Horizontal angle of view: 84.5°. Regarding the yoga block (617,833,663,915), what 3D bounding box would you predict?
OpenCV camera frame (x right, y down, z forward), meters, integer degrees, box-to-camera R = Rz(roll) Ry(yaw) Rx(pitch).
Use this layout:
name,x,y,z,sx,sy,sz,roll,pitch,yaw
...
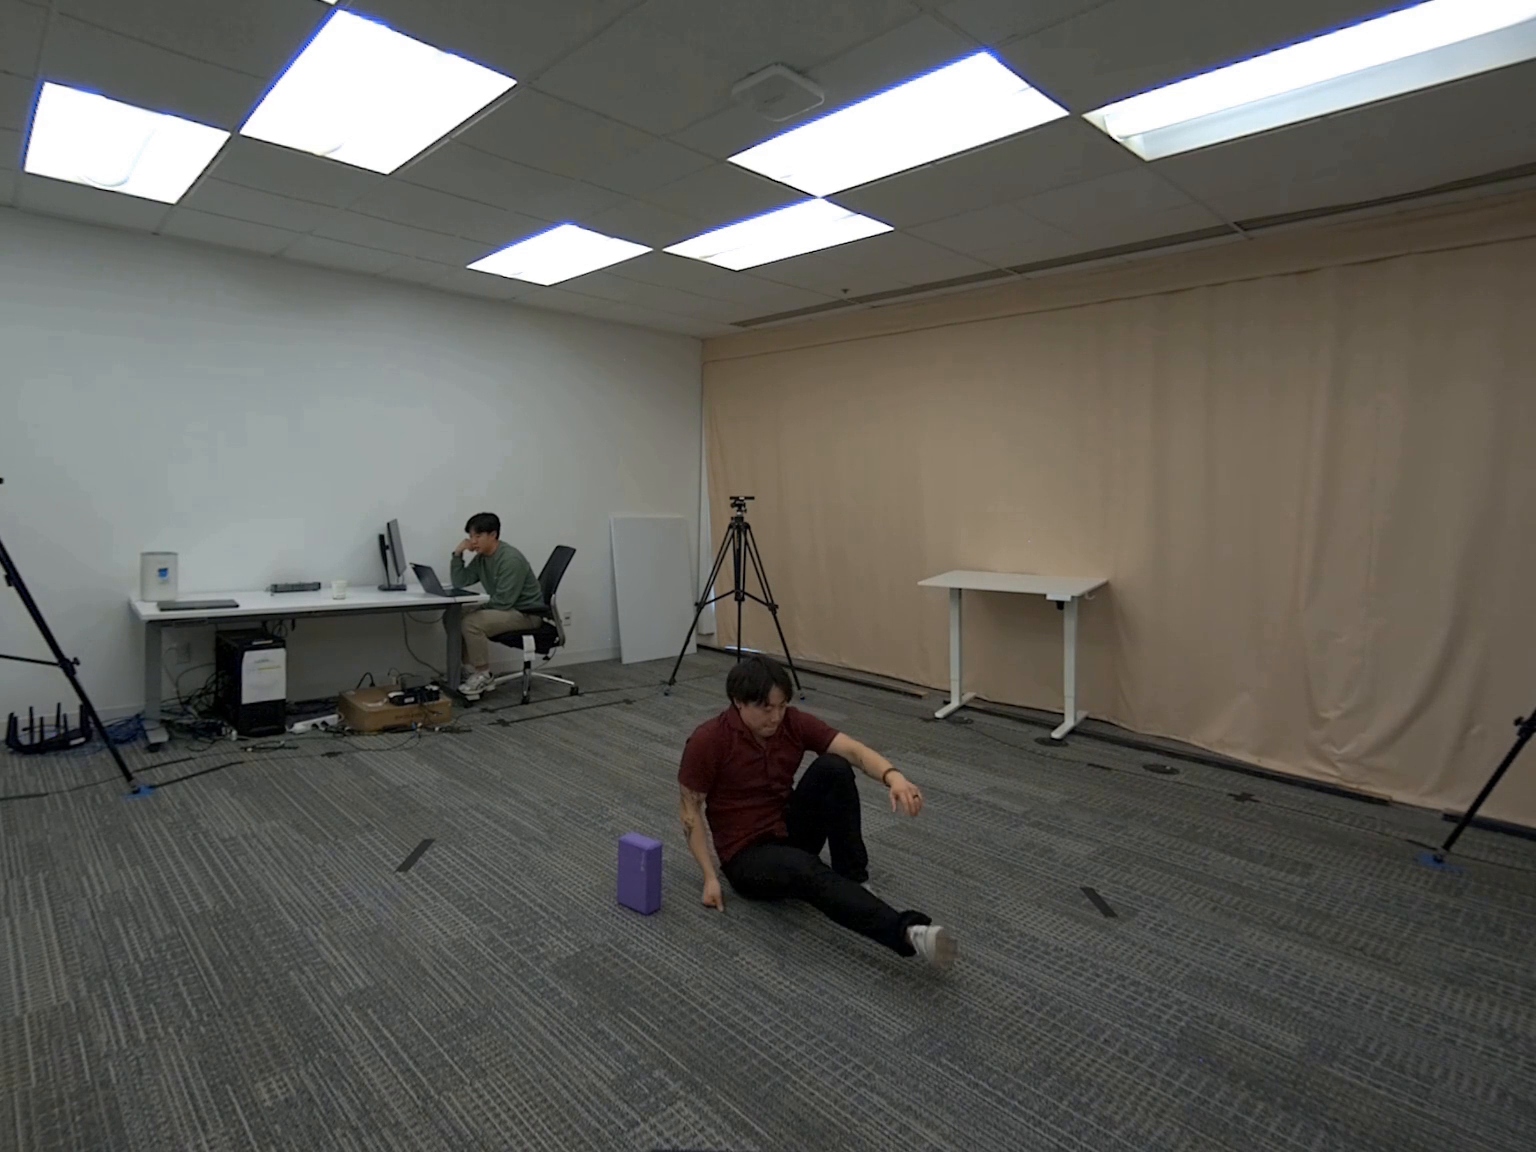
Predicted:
name,x,y,z,sx,sy,sz,roll,pitch,yaw
yoga block,-0.439,1.001,2.845,0.152,0.229,0.075,3,4,36
